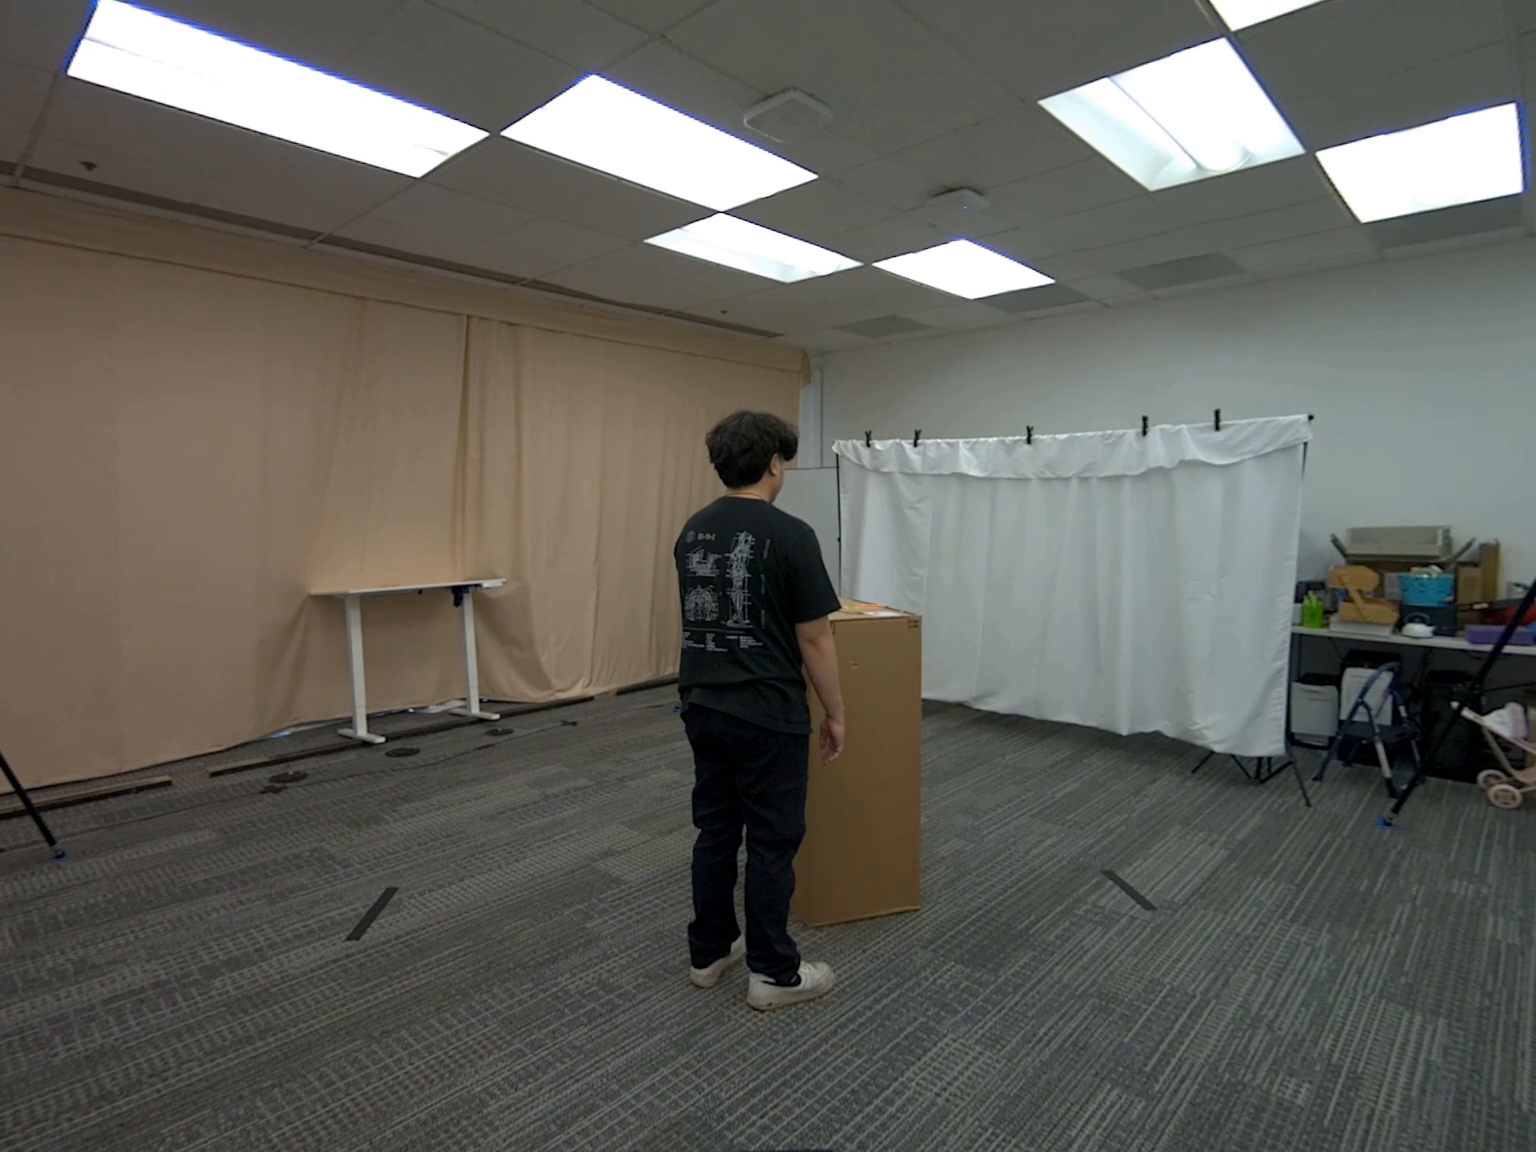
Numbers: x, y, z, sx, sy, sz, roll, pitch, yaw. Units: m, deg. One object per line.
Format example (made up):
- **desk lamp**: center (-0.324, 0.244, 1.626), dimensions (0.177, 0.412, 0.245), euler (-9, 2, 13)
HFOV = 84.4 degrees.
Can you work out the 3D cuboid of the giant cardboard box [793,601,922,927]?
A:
- **giant cardboard box**: center (0.228, 0.623, 3.079), dimensions (0.438, 1.025, 0.597), euler (-1, 3, -21)
